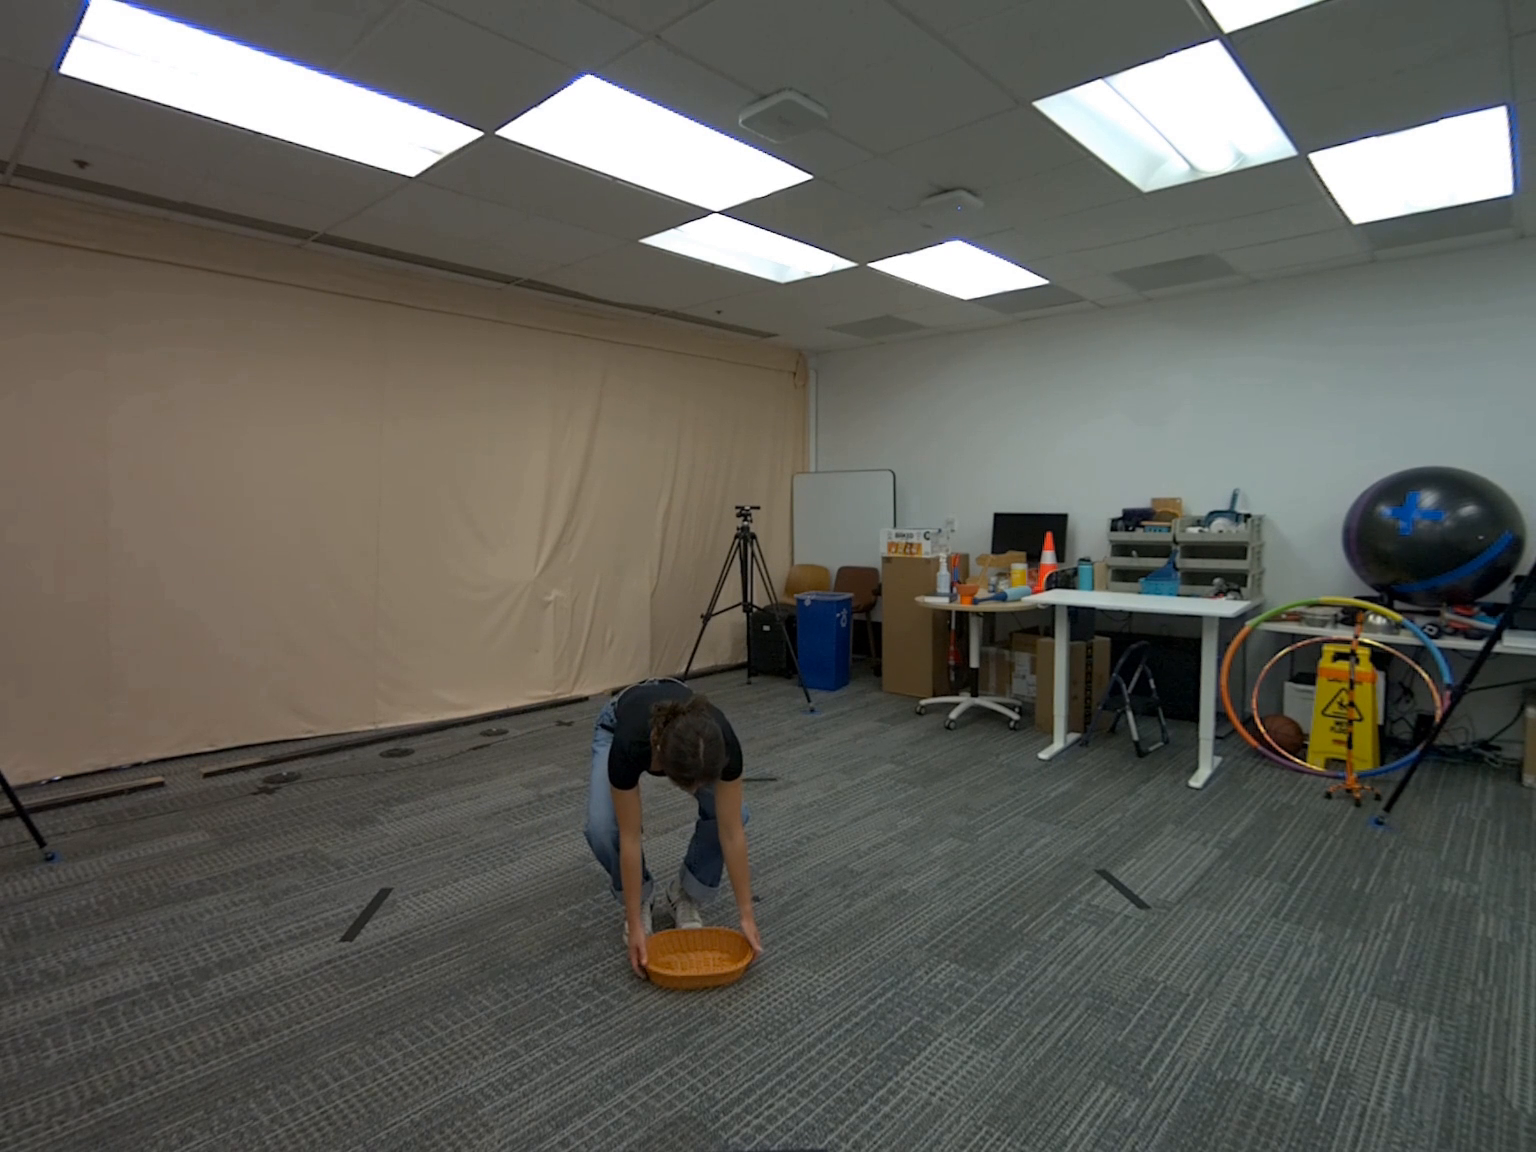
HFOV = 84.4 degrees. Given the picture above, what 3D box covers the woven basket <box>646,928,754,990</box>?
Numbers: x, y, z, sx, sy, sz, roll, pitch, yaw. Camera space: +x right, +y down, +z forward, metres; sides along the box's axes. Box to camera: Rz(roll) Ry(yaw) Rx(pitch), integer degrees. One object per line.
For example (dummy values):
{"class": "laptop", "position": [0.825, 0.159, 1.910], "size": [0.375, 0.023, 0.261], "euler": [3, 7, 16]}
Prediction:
{"class": "woven basket", "position": [-0.214, 1.147, 2.515], "size": [0.348, 0.073, 0.255], "euler": [-1, 6, -6]}
